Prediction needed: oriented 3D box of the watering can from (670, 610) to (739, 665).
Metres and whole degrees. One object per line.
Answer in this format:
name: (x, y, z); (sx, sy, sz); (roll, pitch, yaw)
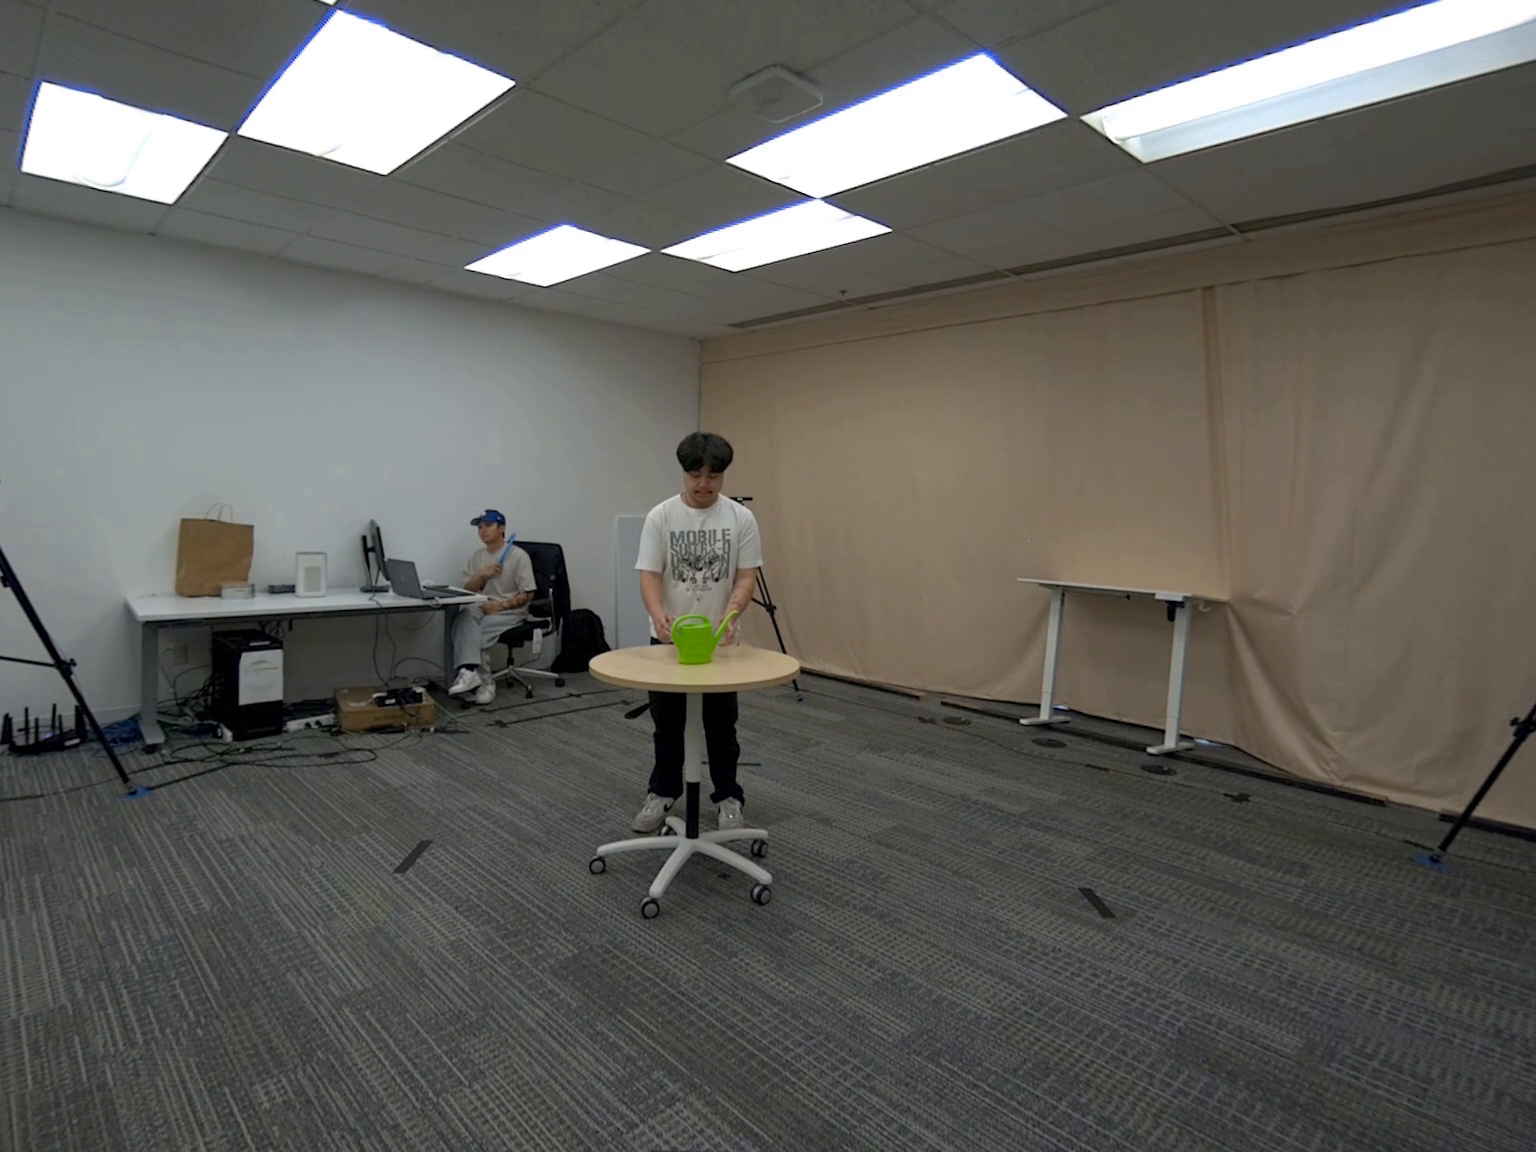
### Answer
watering can: (-0.246, 0.226, 3.086); (0.274, 0.176, 0.100); (-2, 6, -21)
